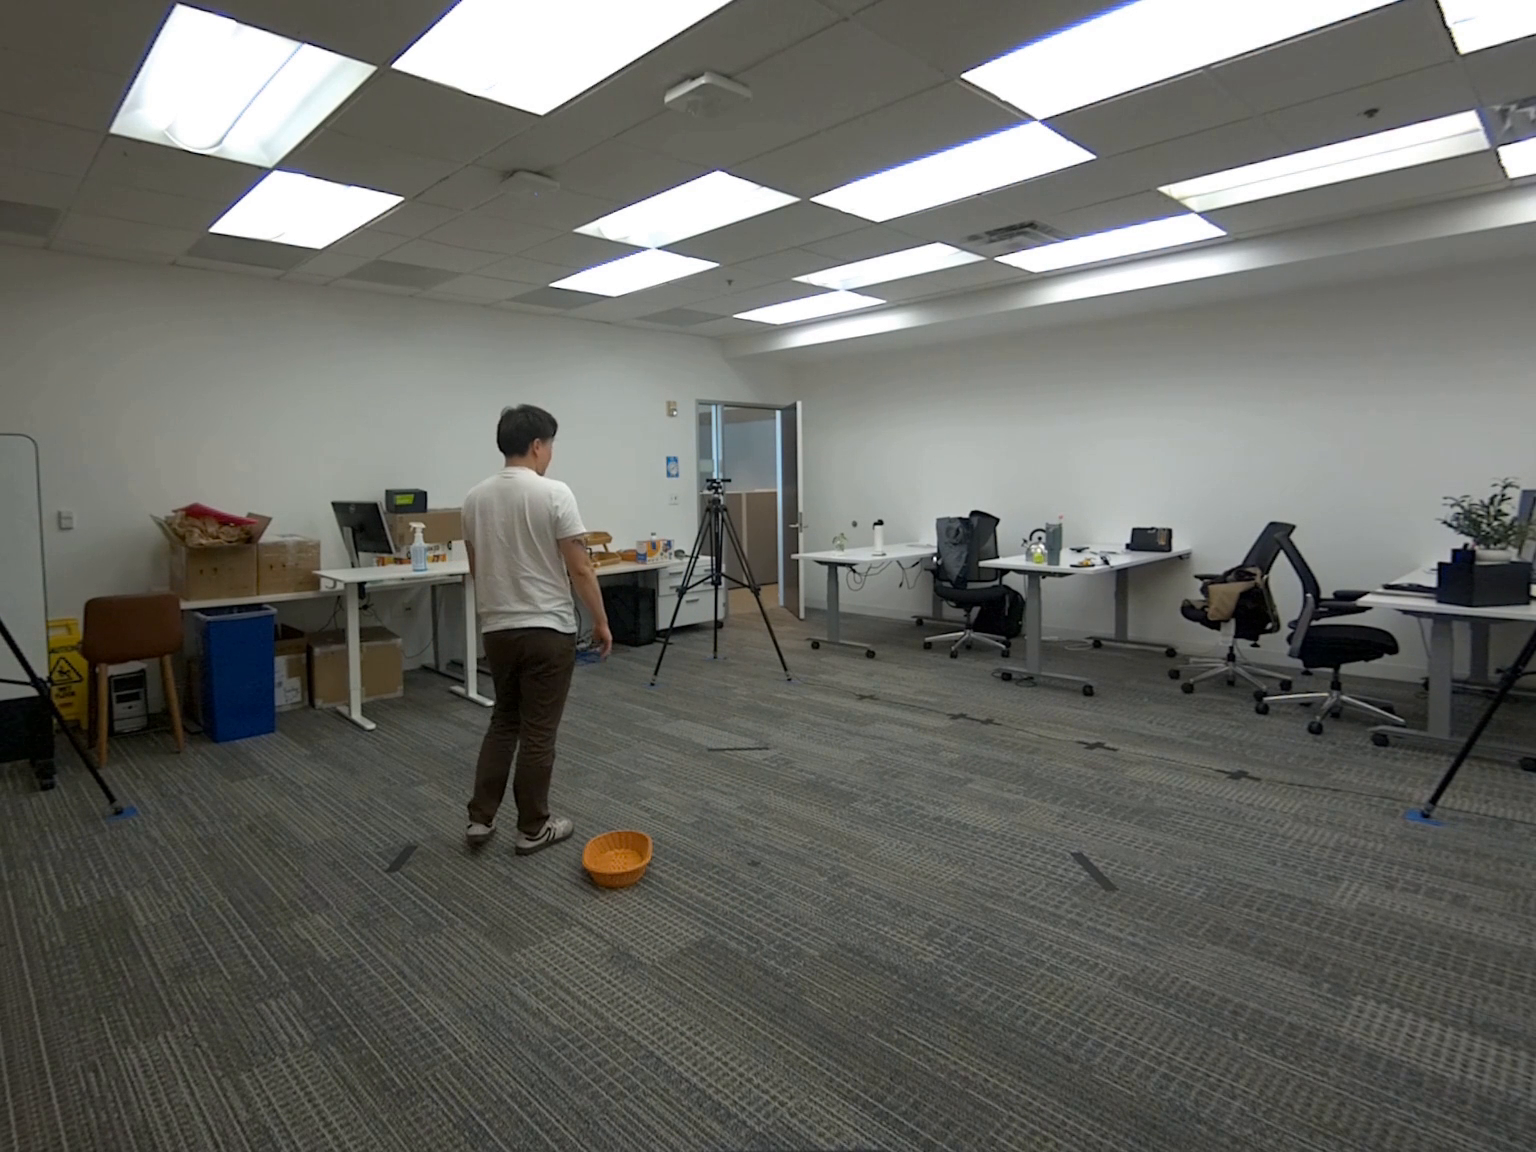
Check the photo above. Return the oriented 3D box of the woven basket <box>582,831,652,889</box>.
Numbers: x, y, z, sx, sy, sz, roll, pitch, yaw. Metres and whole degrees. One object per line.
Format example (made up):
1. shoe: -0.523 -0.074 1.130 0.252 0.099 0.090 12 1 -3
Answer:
1. woven basket: -0.541 1.019 3.072 0.252 0.073 0.353 -2 7 -4
